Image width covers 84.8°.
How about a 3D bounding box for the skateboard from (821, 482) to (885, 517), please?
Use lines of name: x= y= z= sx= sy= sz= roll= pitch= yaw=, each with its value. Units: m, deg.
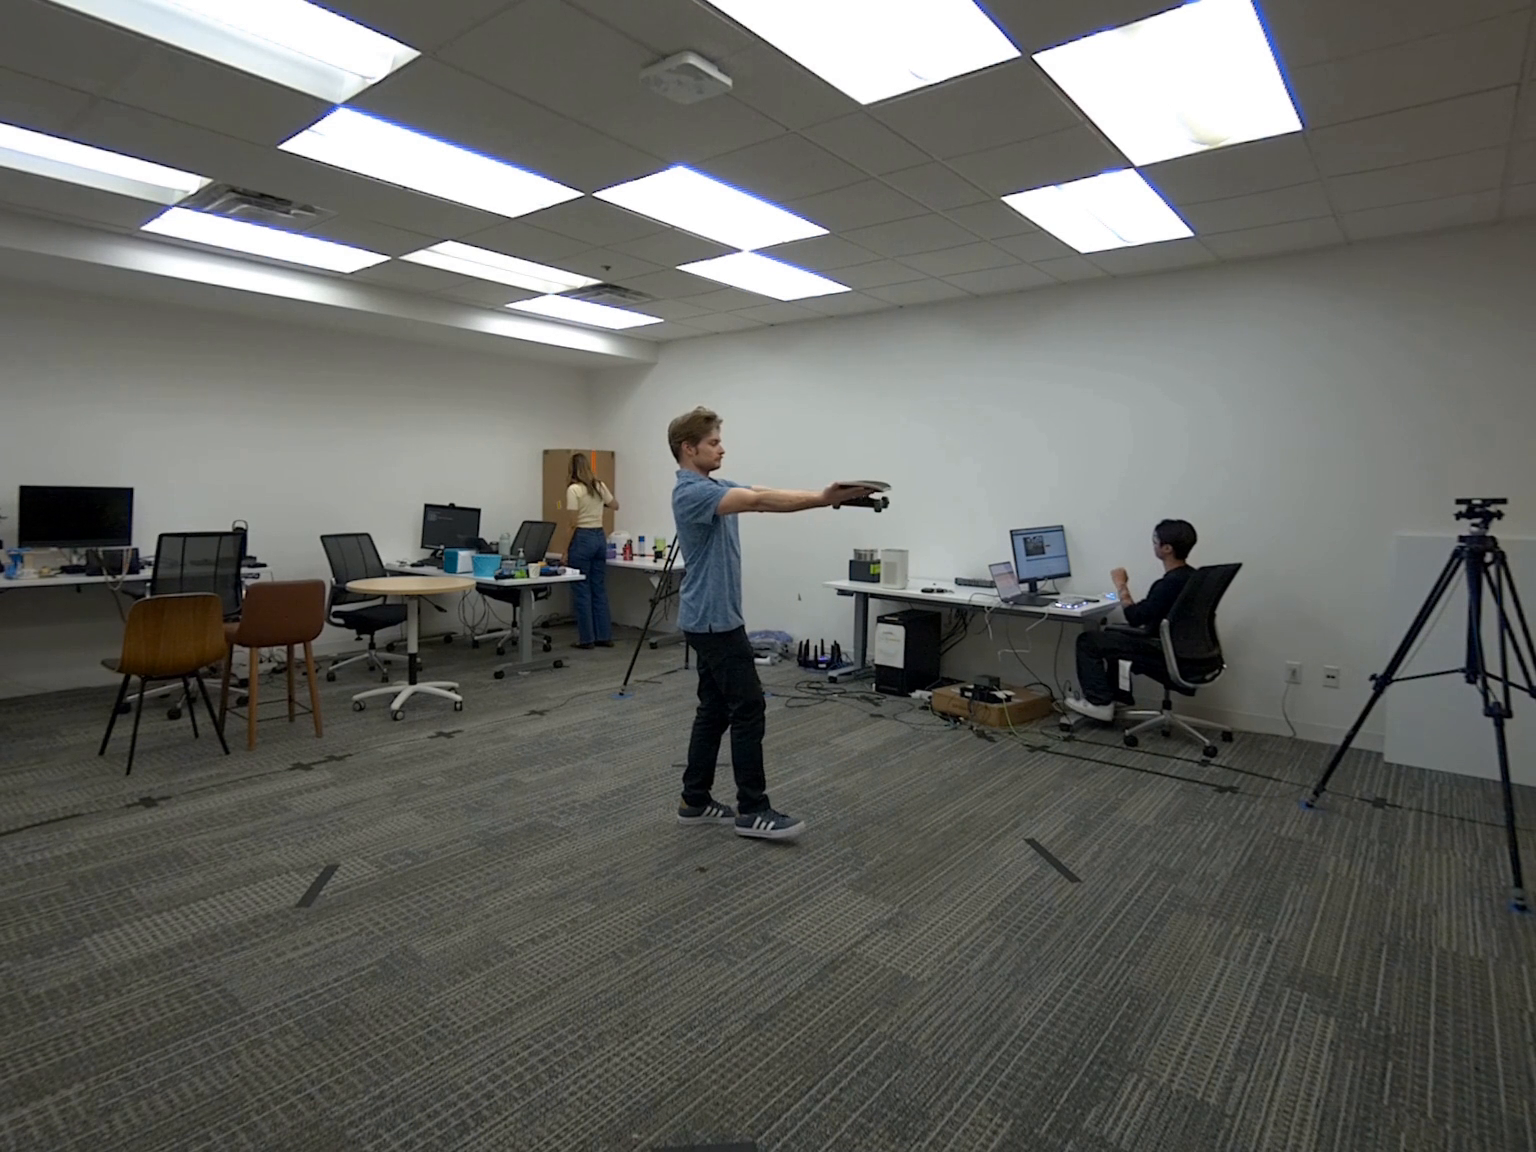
skateboard: x=0.350 y=-0.317 z=3.362 sx=0.196 sy=0.110 sz=0.779 roll=3 pitch=7 yaw=9
